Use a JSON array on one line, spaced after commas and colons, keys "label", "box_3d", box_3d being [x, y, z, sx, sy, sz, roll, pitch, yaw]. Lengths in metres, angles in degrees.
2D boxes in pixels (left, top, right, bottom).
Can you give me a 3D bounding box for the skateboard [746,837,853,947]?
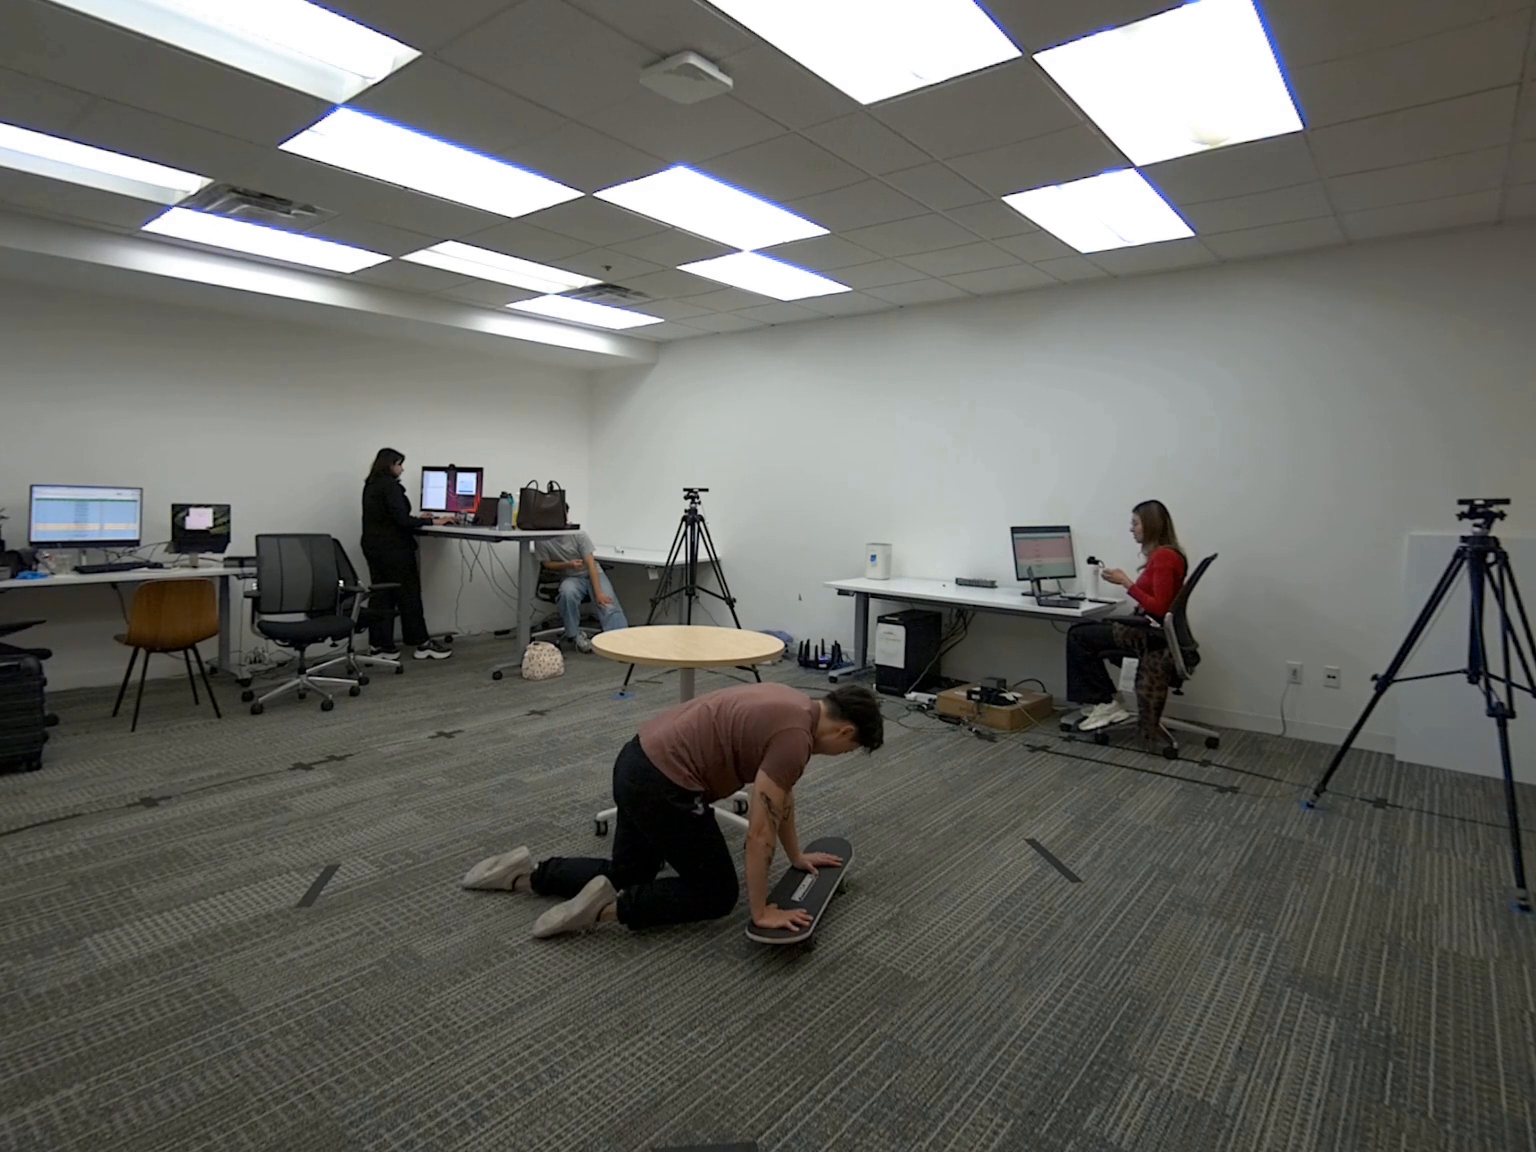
[{"label": "skateboard", "box_3d": [0.120, 1.058, 2.798, 0.197, 0.110, 0.772, -2, 5, 19]}]
